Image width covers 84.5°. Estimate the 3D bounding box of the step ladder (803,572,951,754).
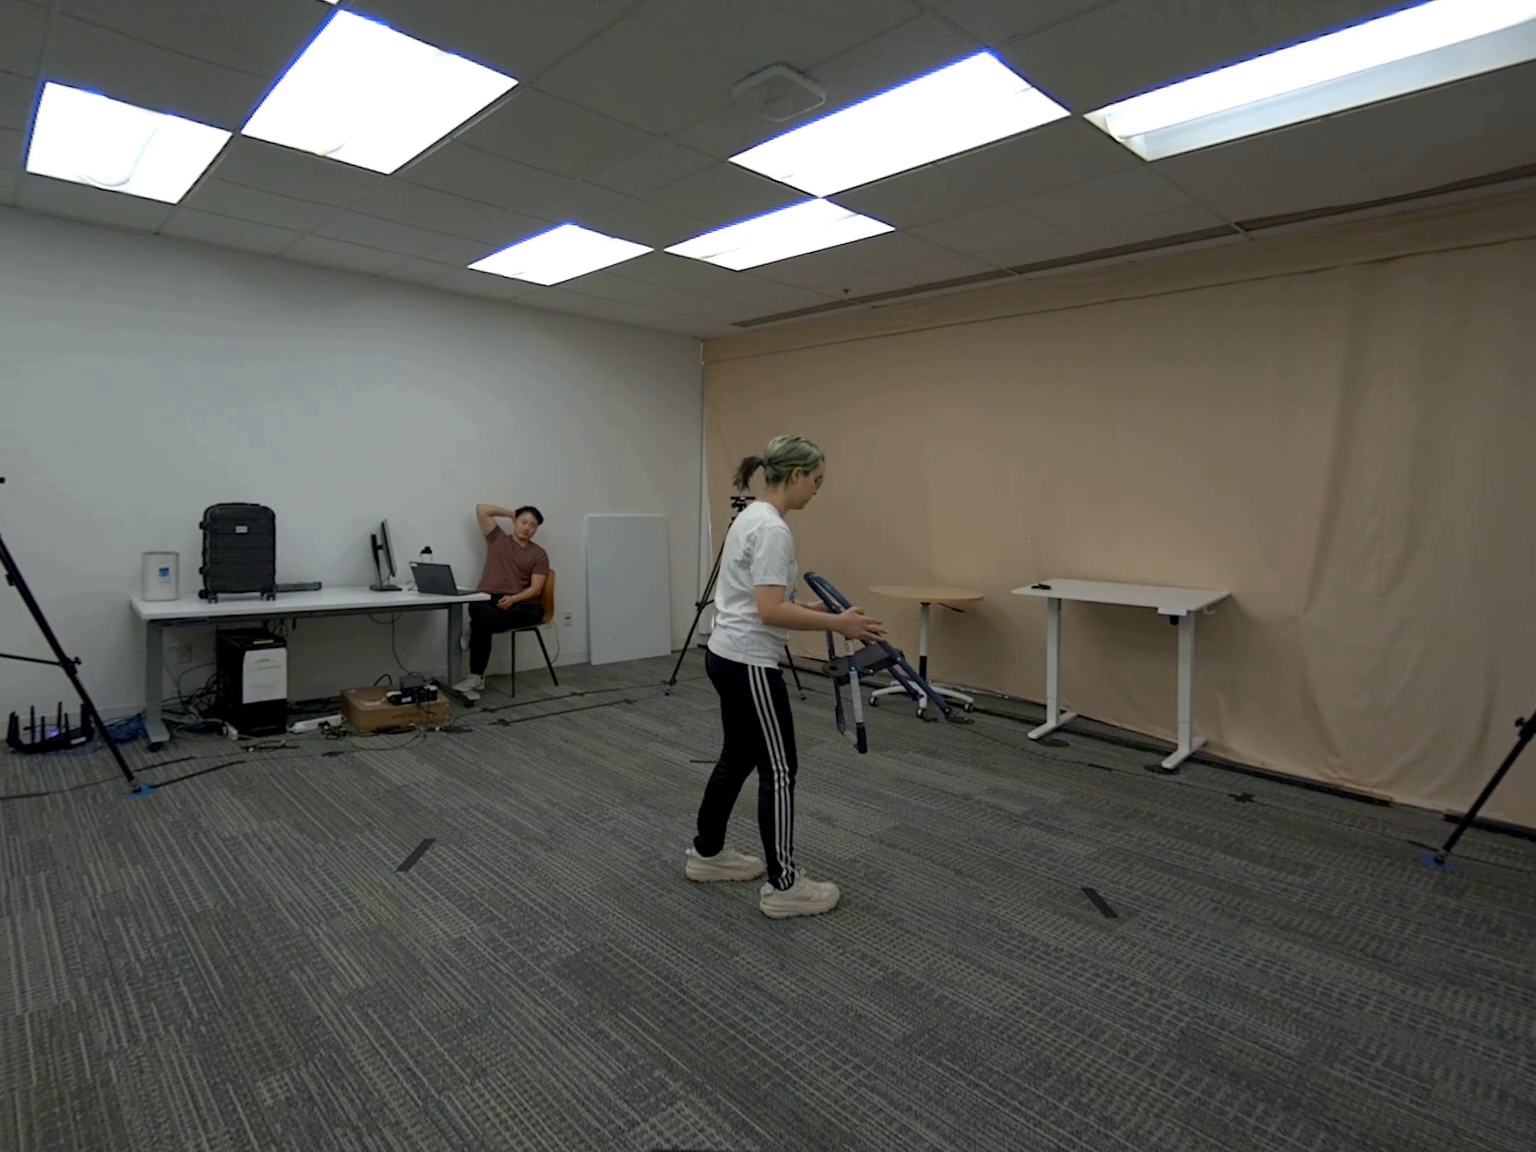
[{"bbox_3d":[0.321,0.247,2.971,0.348,0.606,0.431,-22,0,-5],"label":"step ladder"}]
